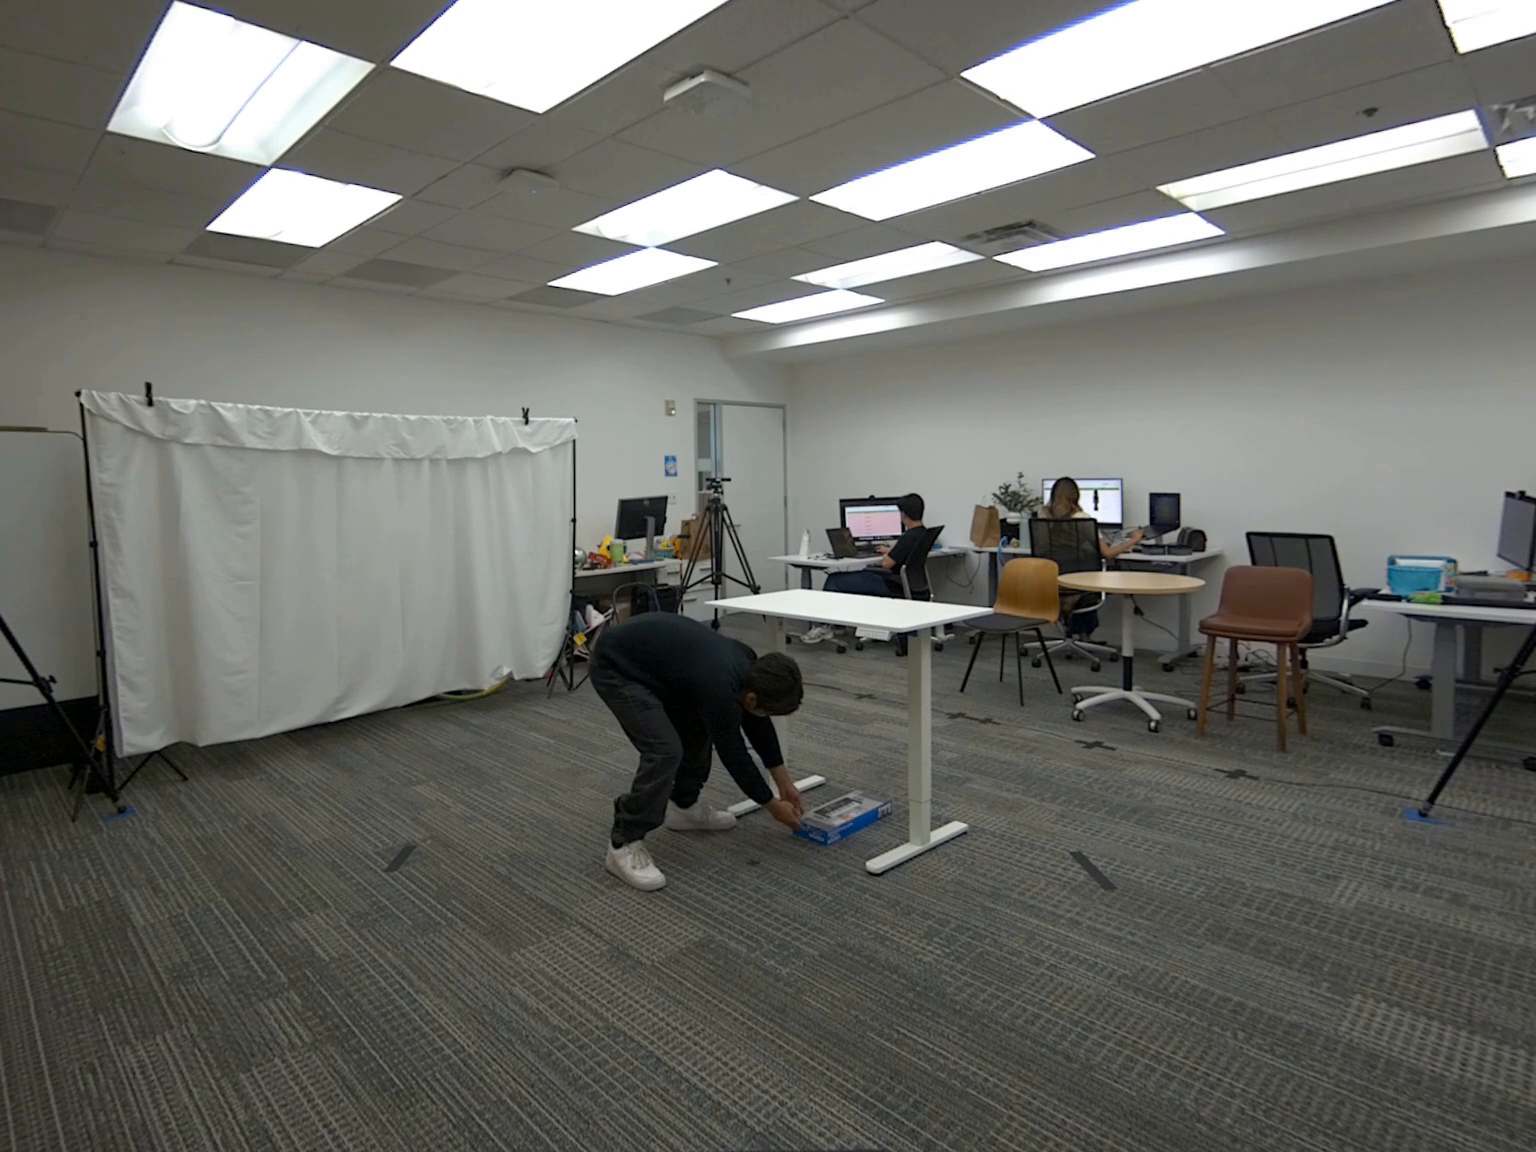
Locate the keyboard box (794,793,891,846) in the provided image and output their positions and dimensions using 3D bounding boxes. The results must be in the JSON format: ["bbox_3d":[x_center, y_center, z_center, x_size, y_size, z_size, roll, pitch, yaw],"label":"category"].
[{"bbox_3d":[0.309,0.967,3.443,0.181,0.059,0.425,5,9,43],"label":"keyboard box"}]
